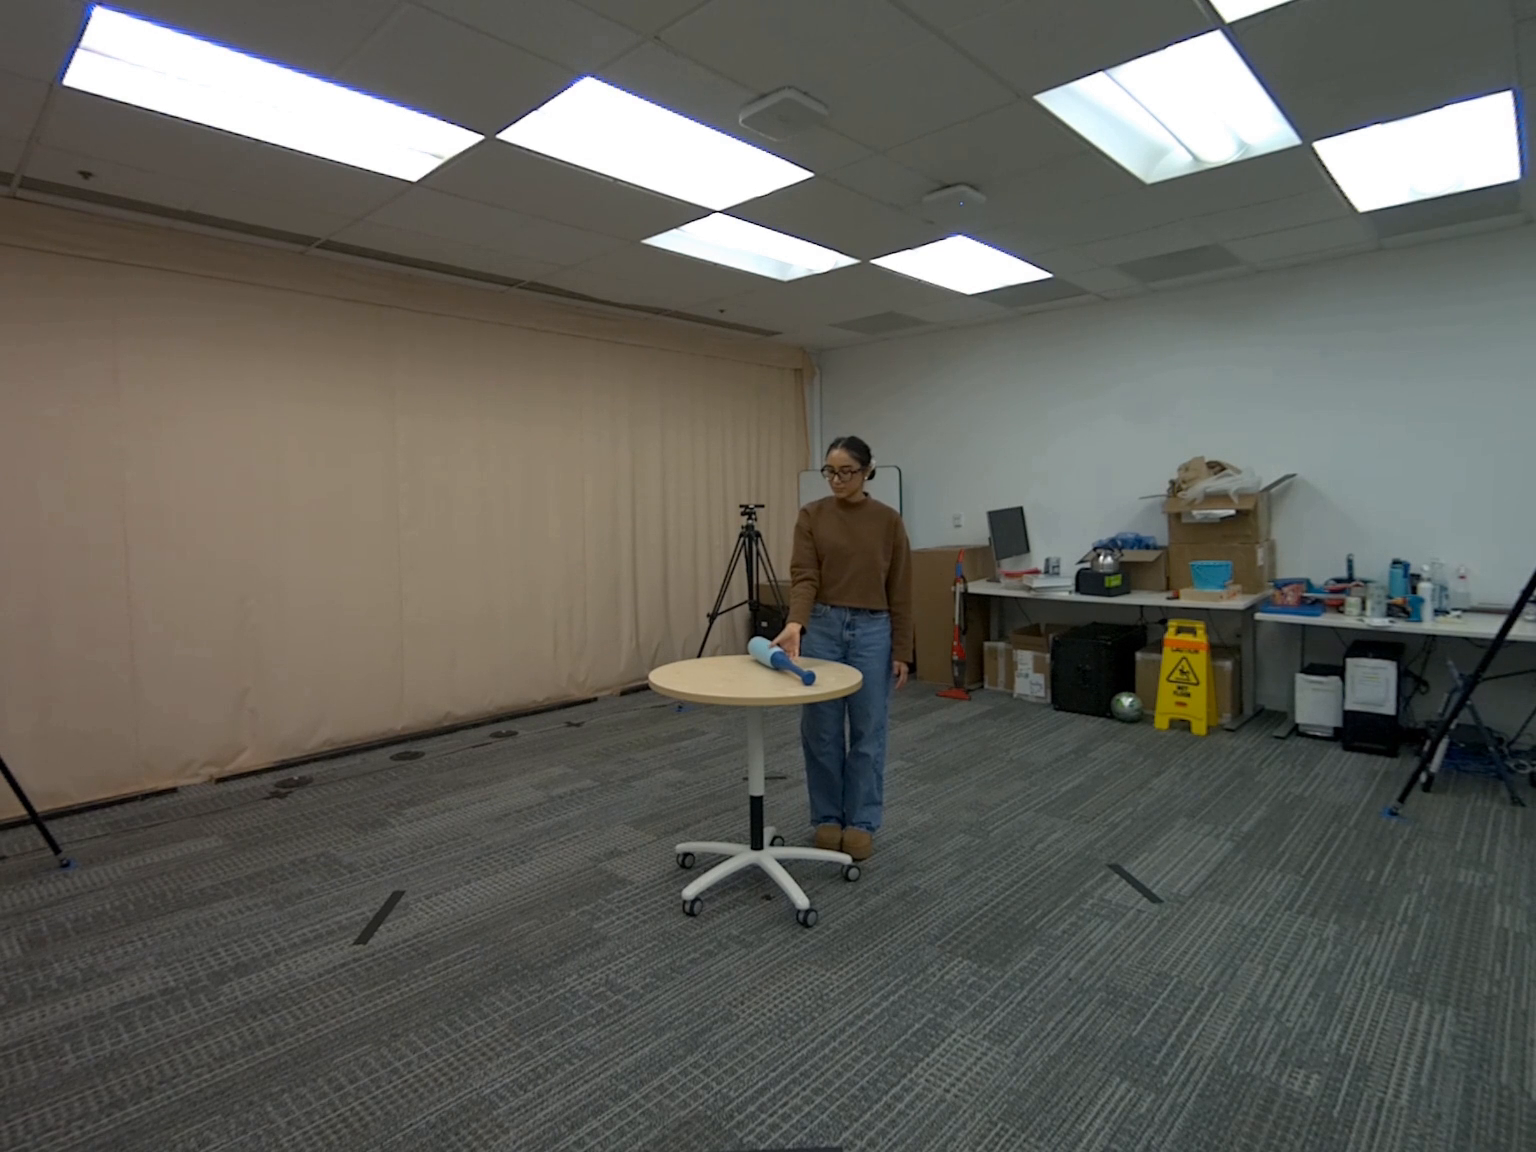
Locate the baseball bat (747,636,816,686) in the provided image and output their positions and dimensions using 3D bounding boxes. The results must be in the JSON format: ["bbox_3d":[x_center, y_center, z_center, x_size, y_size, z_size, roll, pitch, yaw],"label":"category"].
[{"bbox_3d":[0.051,0.312,3.071,0.087,0.089,0.555,-2,8,-20],"label":"baseball bat"}]
